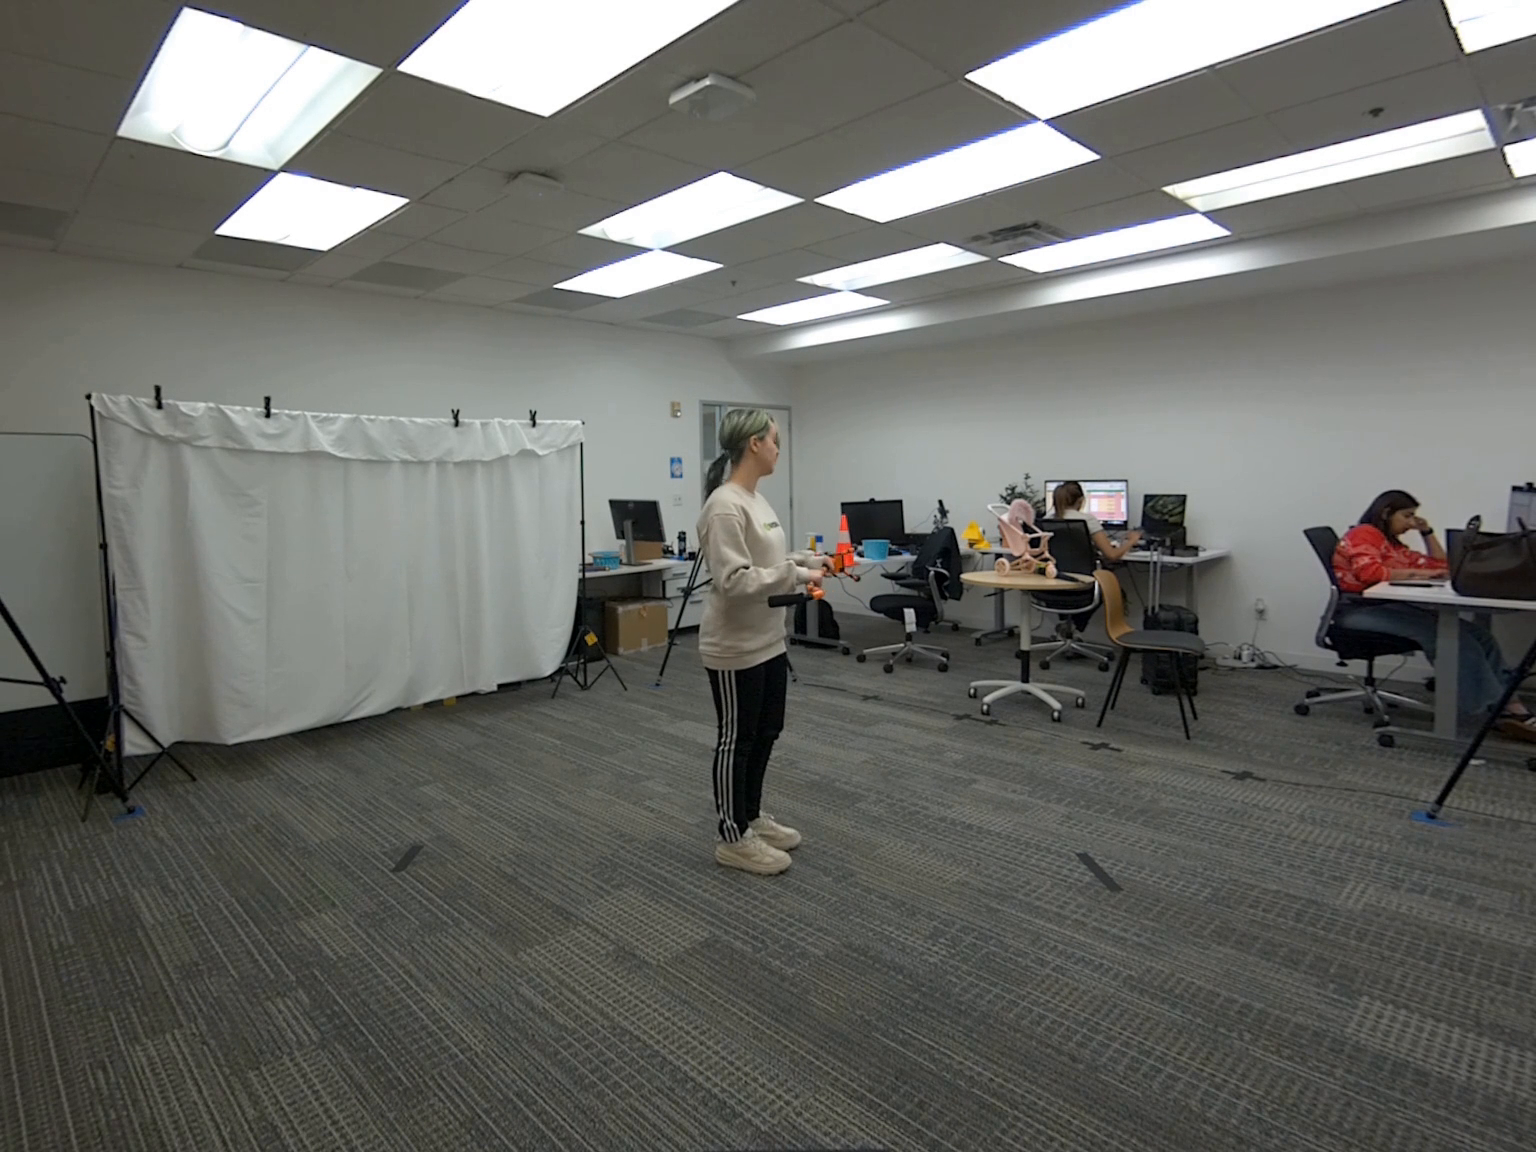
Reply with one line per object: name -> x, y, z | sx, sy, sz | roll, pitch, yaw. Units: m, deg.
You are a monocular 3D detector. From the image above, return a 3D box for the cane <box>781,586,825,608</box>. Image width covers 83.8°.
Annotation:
cane -> 0.220, 0.017, 2.975 | 0.208, 0.151, 0.906 | -8, 6, 7
